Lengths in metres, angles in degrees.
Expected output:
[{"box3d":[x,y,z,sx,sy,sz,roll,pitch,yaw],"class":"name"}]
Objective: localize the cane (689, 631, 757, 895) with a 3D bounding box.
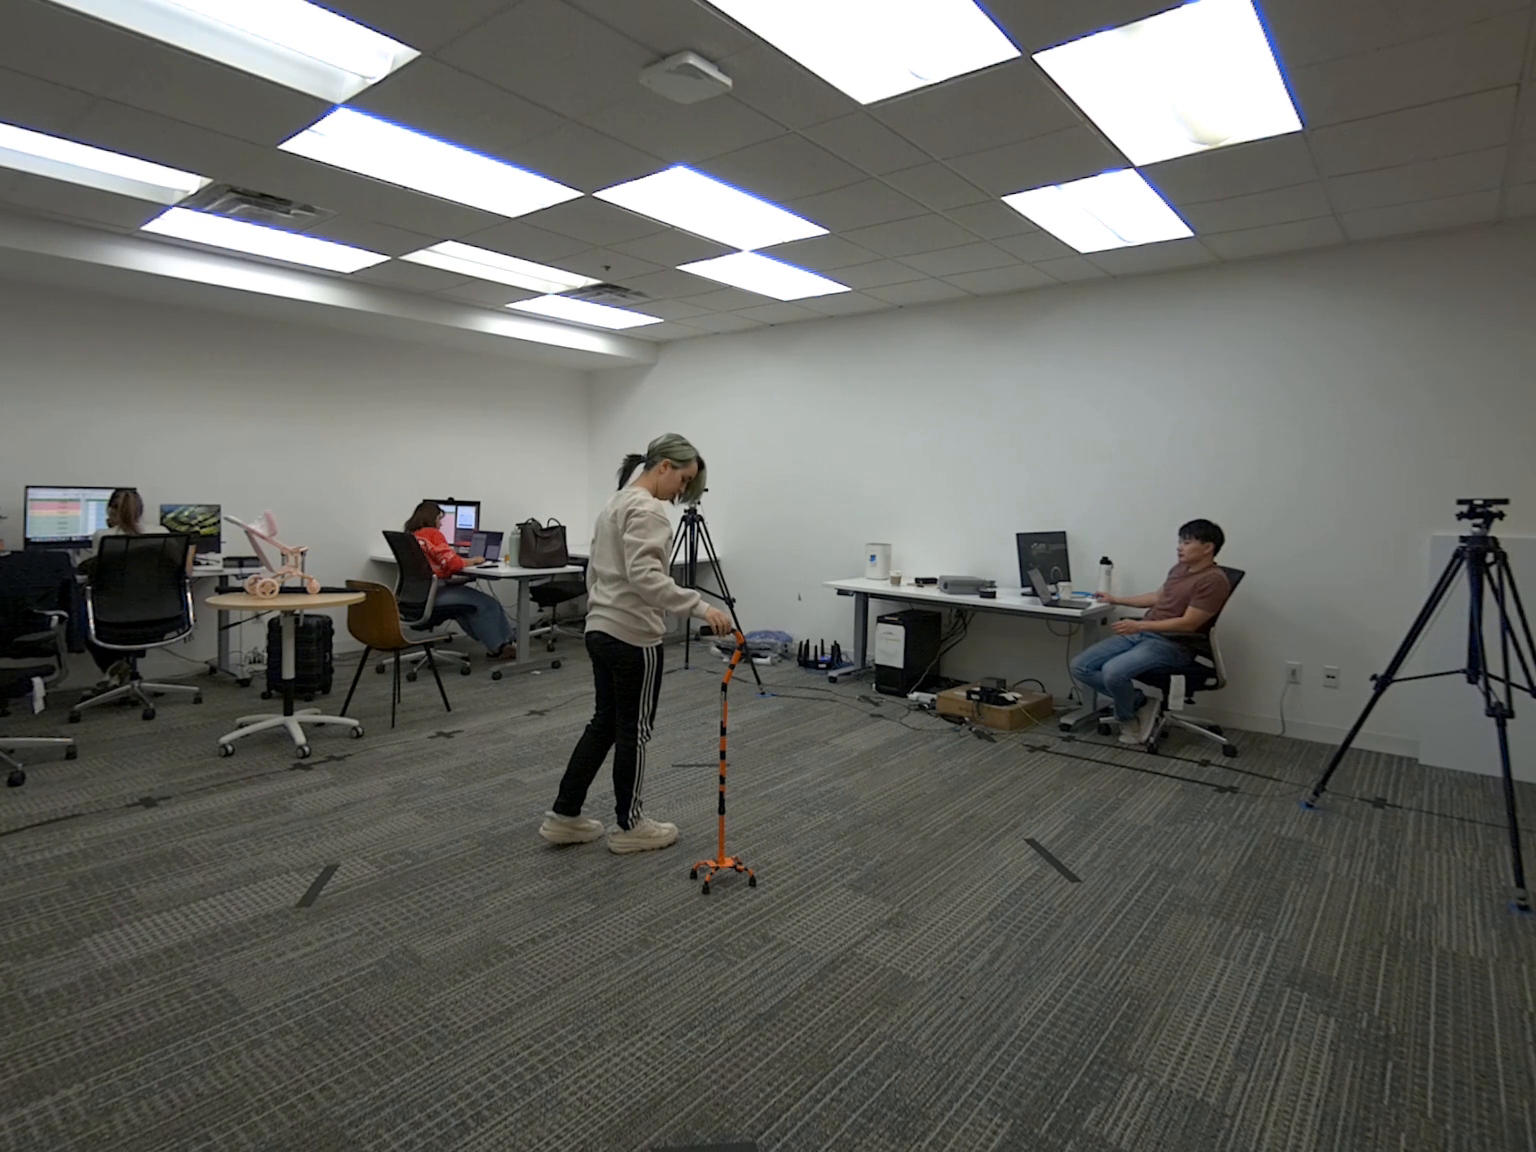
[{"box3d":[-0.164,0.631,2.990,0.202,0.905,0.155,0,3,-23],"class":"cane"}]
